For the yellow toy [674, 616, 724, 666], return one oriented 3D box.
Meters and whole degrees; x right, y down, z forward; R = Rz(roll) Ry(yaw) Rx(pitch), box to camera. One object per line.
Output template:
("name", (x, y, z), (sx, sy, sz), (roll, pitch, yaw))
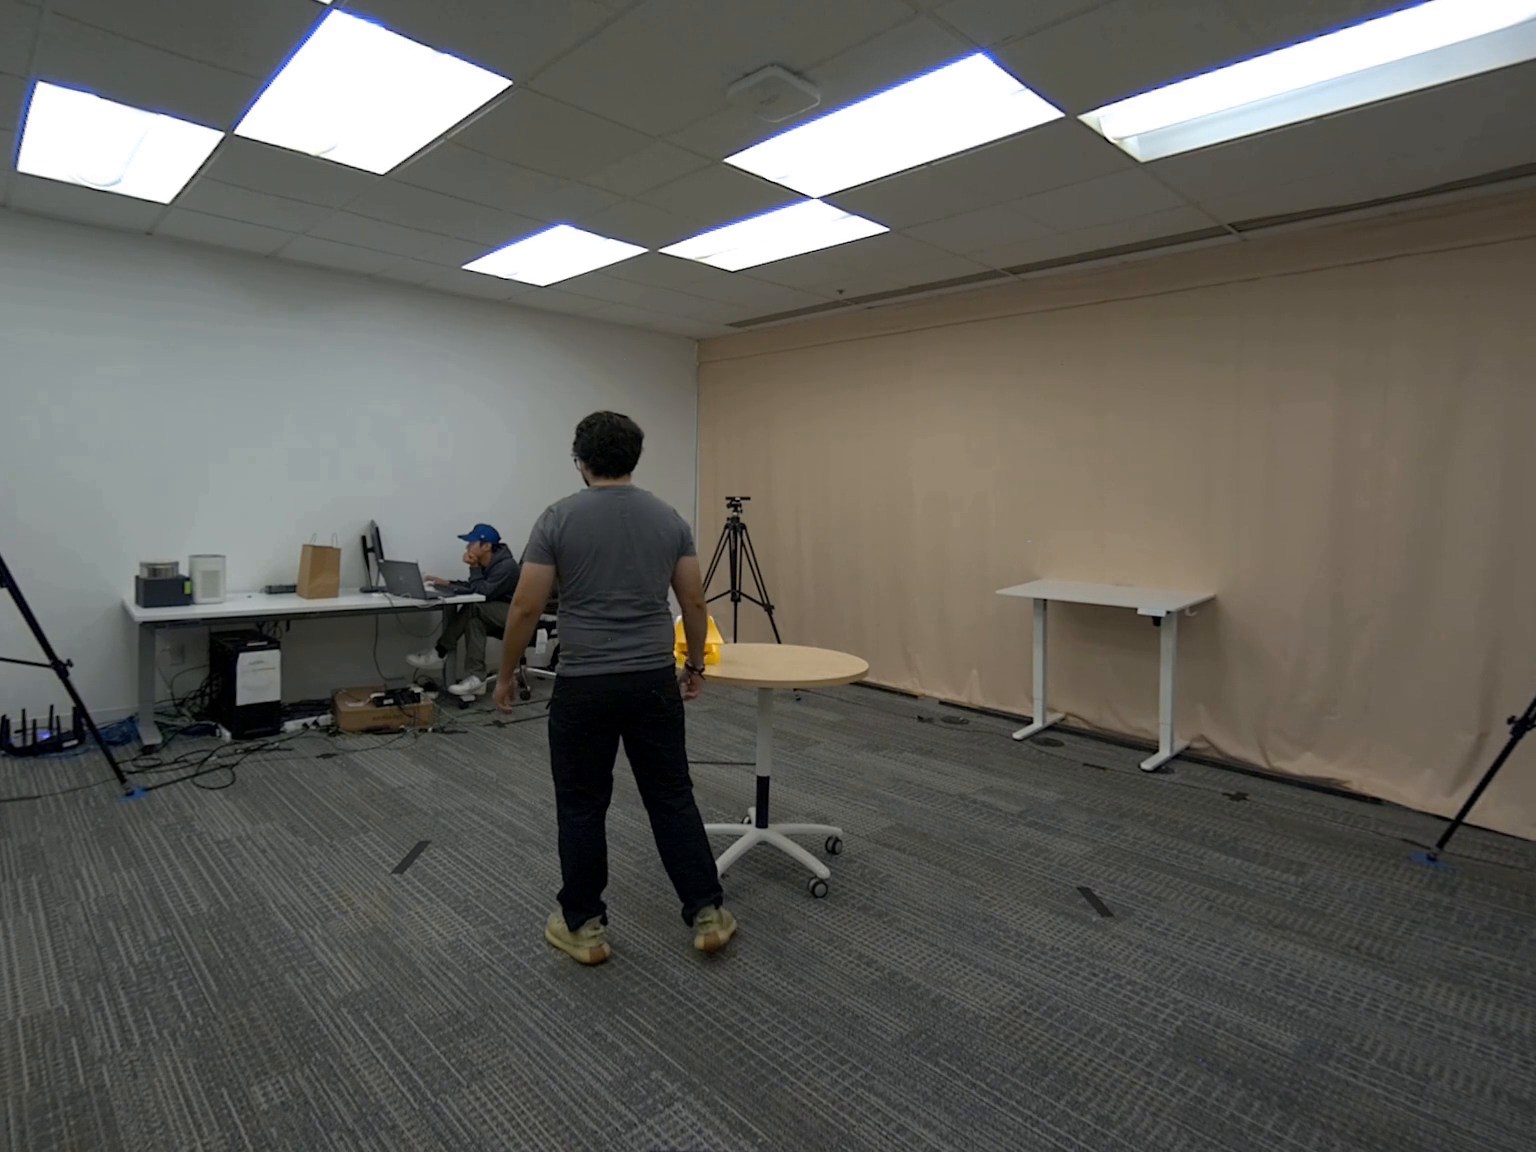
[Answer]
("yellow toy", (-0.279, 0.202, 3.134), (0.204, 0.230, 0.194), (1, 2, -7))
